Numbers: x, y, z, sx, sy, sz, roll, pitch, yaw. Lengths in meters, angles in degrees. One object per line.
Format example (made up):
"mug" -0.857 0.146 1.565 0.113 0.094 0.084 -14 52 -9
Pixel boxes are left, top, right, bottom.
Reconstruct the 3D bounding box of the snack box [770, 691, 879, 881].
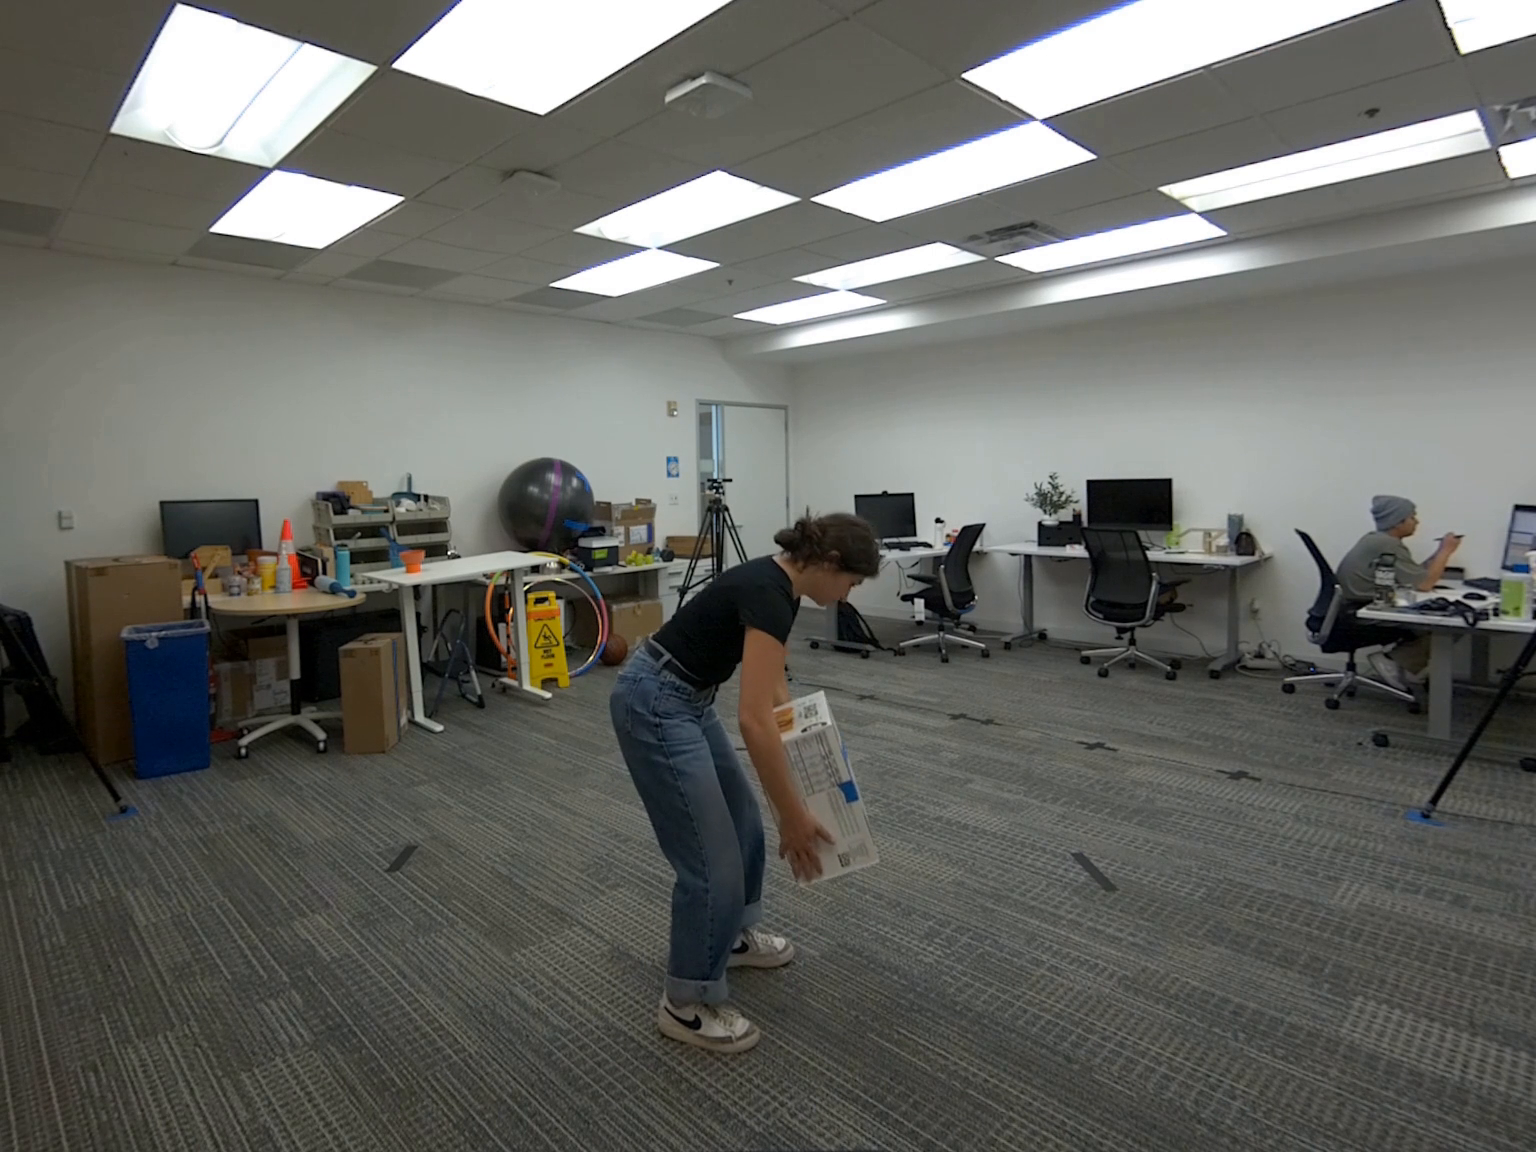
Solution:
"snack box" 0.116 0.522 2.183 0.206 0.341 0.404 -20 1 2
